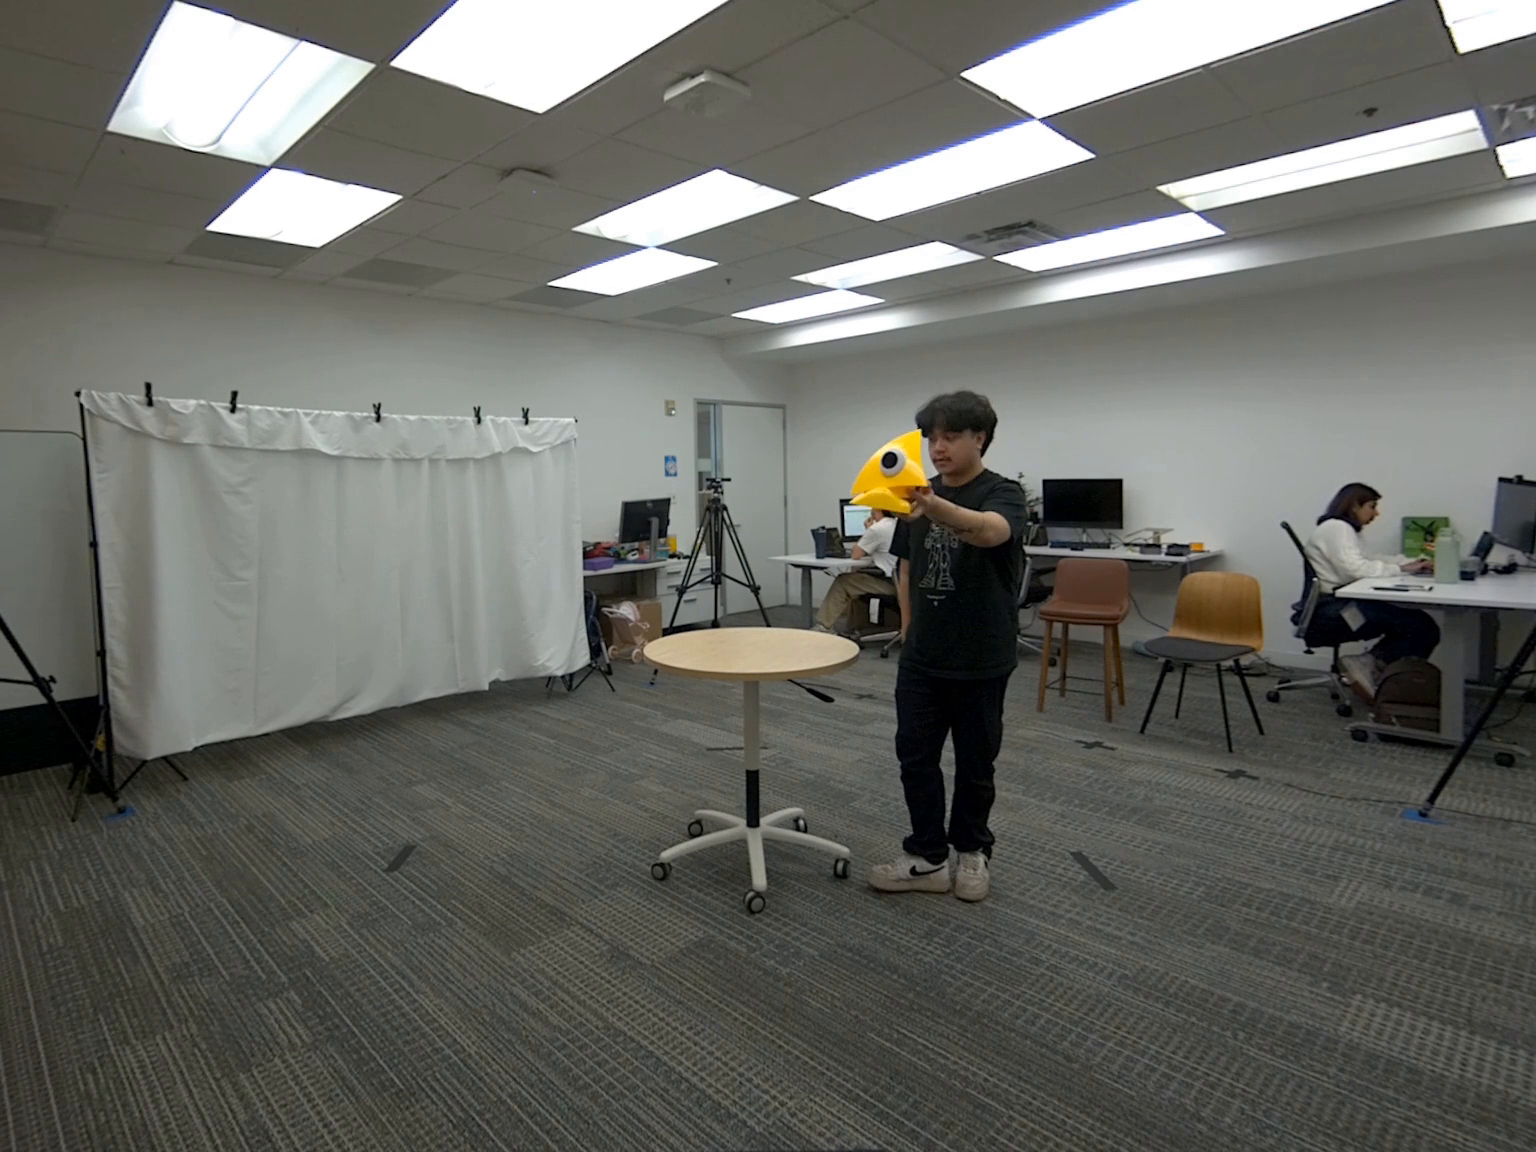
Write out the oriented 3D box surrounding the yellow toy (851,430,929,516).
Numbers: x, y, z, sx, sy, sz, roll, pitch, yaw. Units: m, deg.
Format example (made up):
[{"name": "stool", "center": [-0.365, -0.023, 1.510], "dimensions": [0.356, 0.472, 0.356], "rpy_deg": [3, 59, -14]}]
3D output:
[{"name": "yellow toy", "center": [0.342, -0.297, 2.320], "dimensions": [0.194, 0.230, 0.204], "rpy_deg": [10, 4, 3]}]
